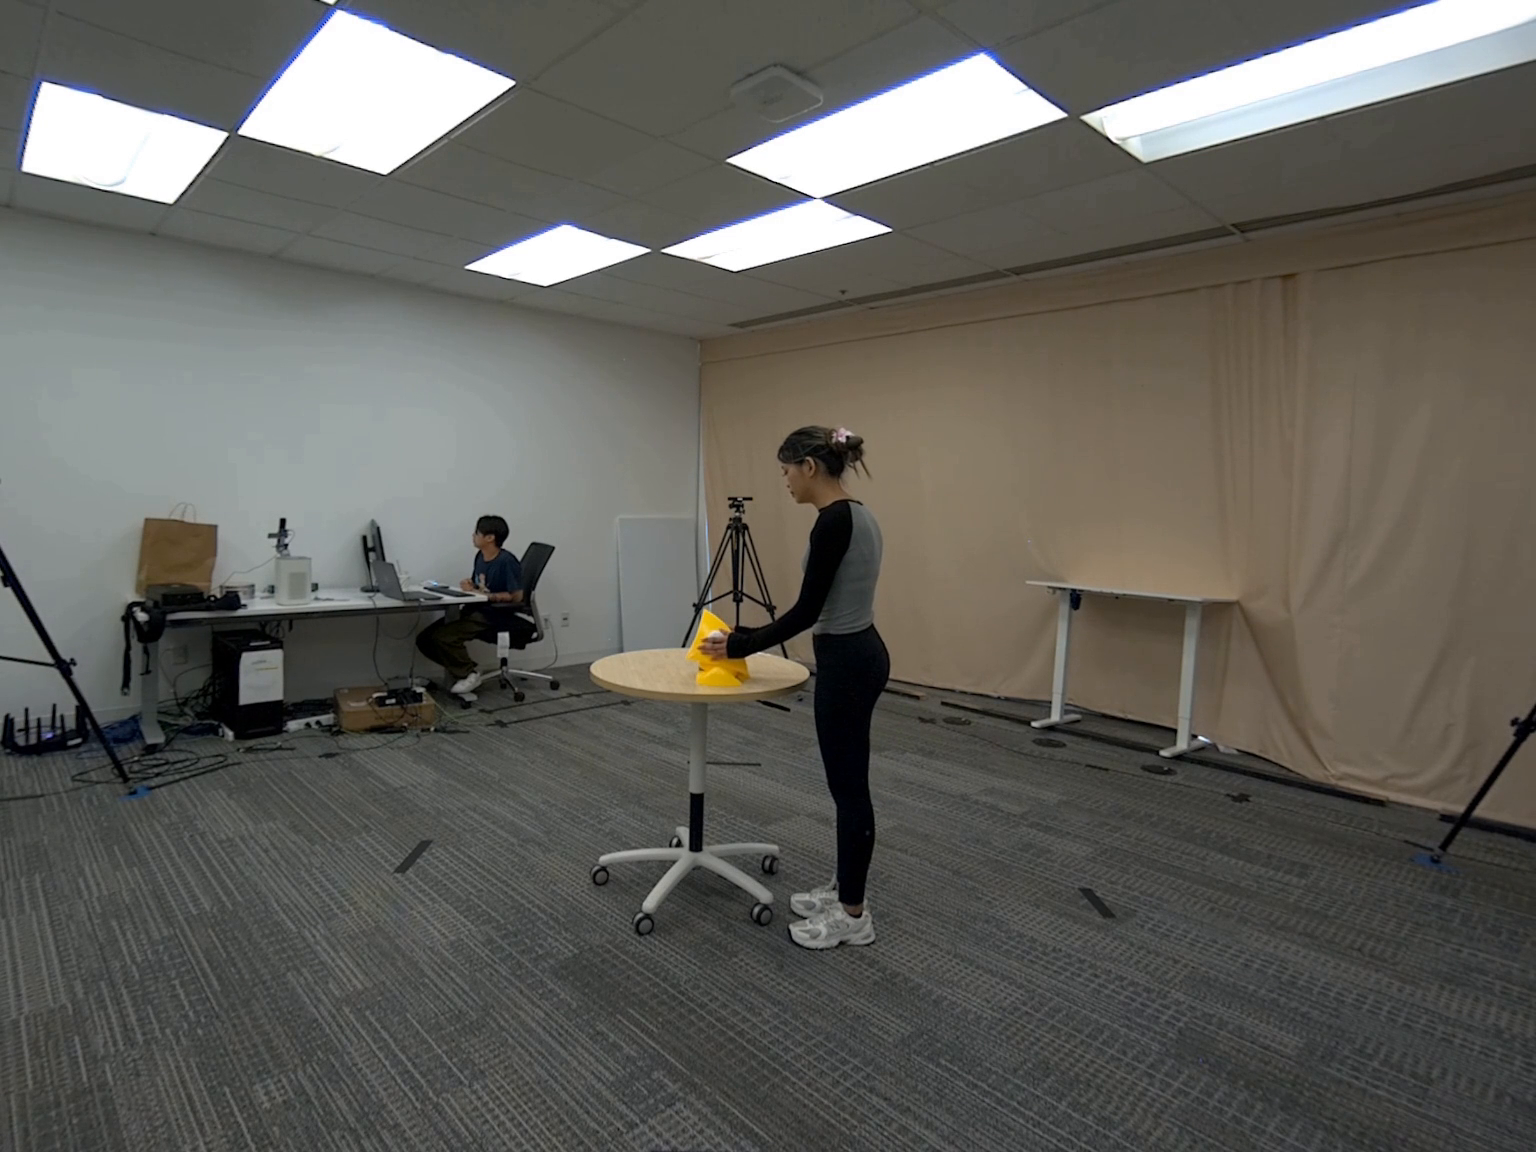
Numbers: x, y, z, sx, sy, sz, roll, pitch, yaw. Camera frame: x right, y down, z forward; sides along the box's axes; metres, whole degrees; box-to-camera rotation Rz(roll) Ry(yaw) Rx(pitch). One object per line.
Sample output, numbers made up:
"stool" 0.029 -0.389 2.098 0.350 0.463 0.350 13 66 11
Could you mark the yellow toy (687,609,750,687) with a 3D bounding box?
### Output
"yellow toy" -0.159 0.227 2.788 0.196 0.230 0.203 1 5 16
